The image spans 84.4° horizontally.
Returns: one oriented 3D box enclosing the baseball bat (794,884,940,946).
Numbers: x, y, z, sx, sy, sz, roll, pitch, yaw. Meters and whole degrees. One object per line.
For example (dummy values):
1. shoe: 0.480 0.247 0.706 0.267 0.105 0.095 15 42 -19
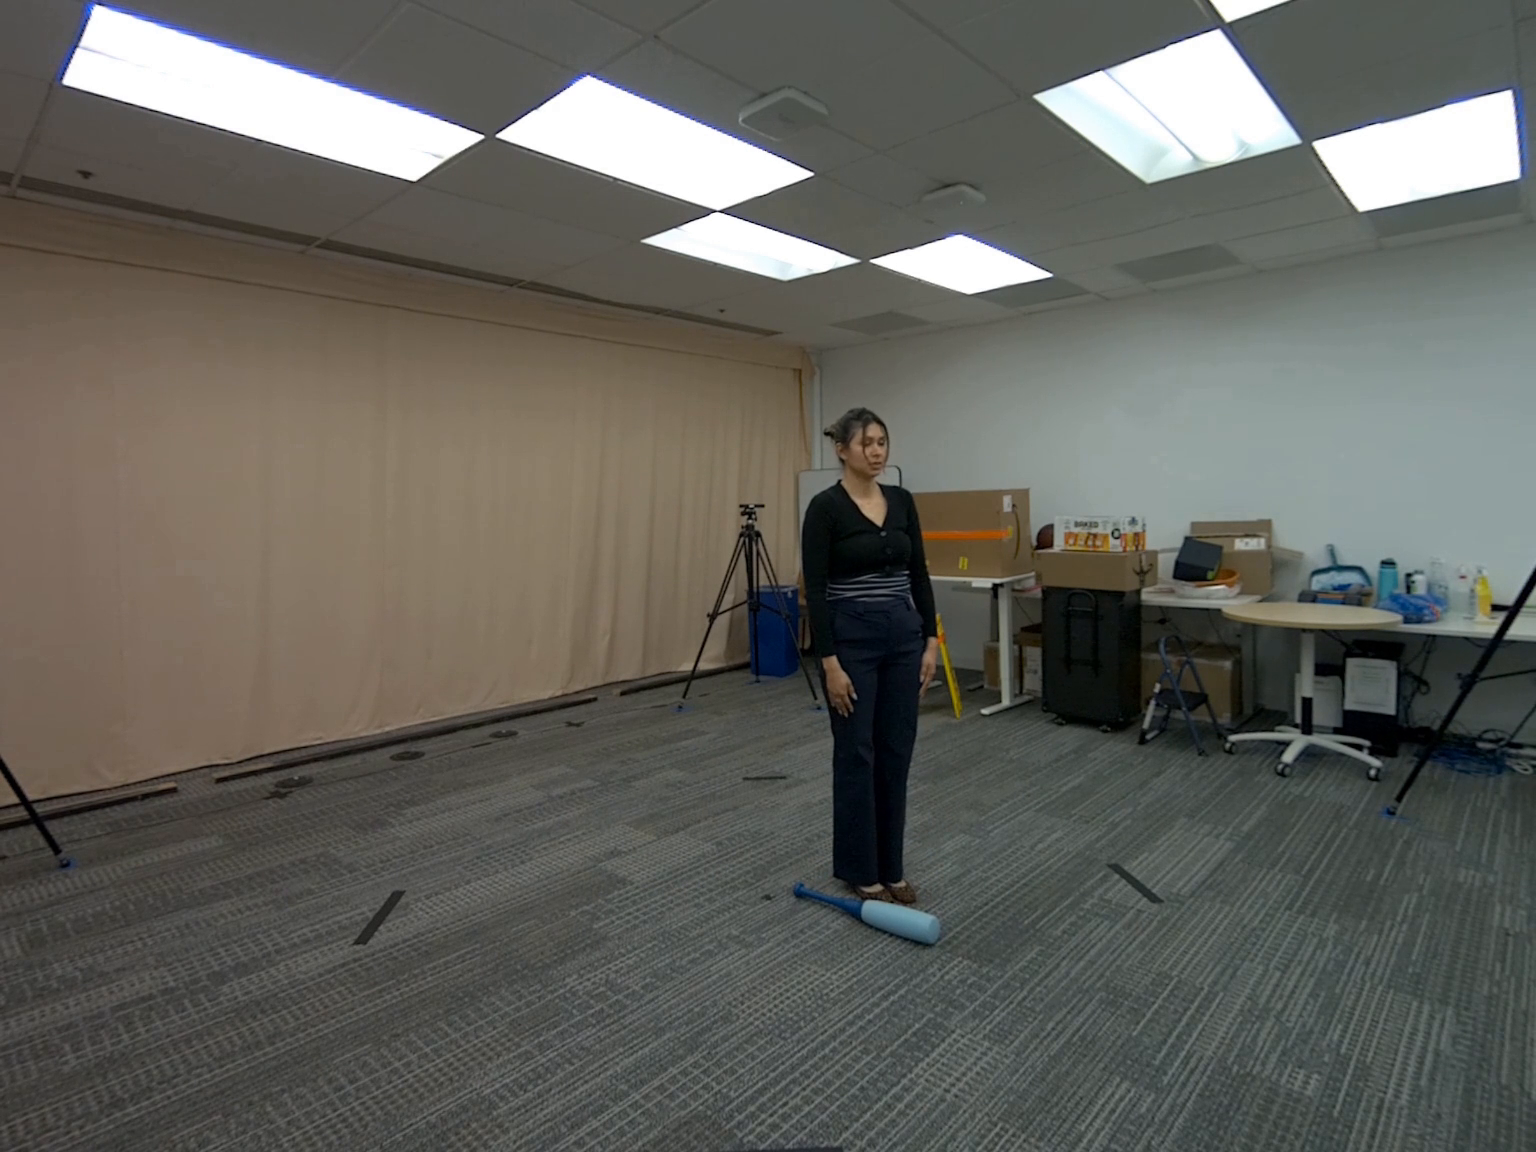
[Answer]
1. baseball bat: 0.313 1.113 2.808 0.560 0.089 0.086 -1 3 41
